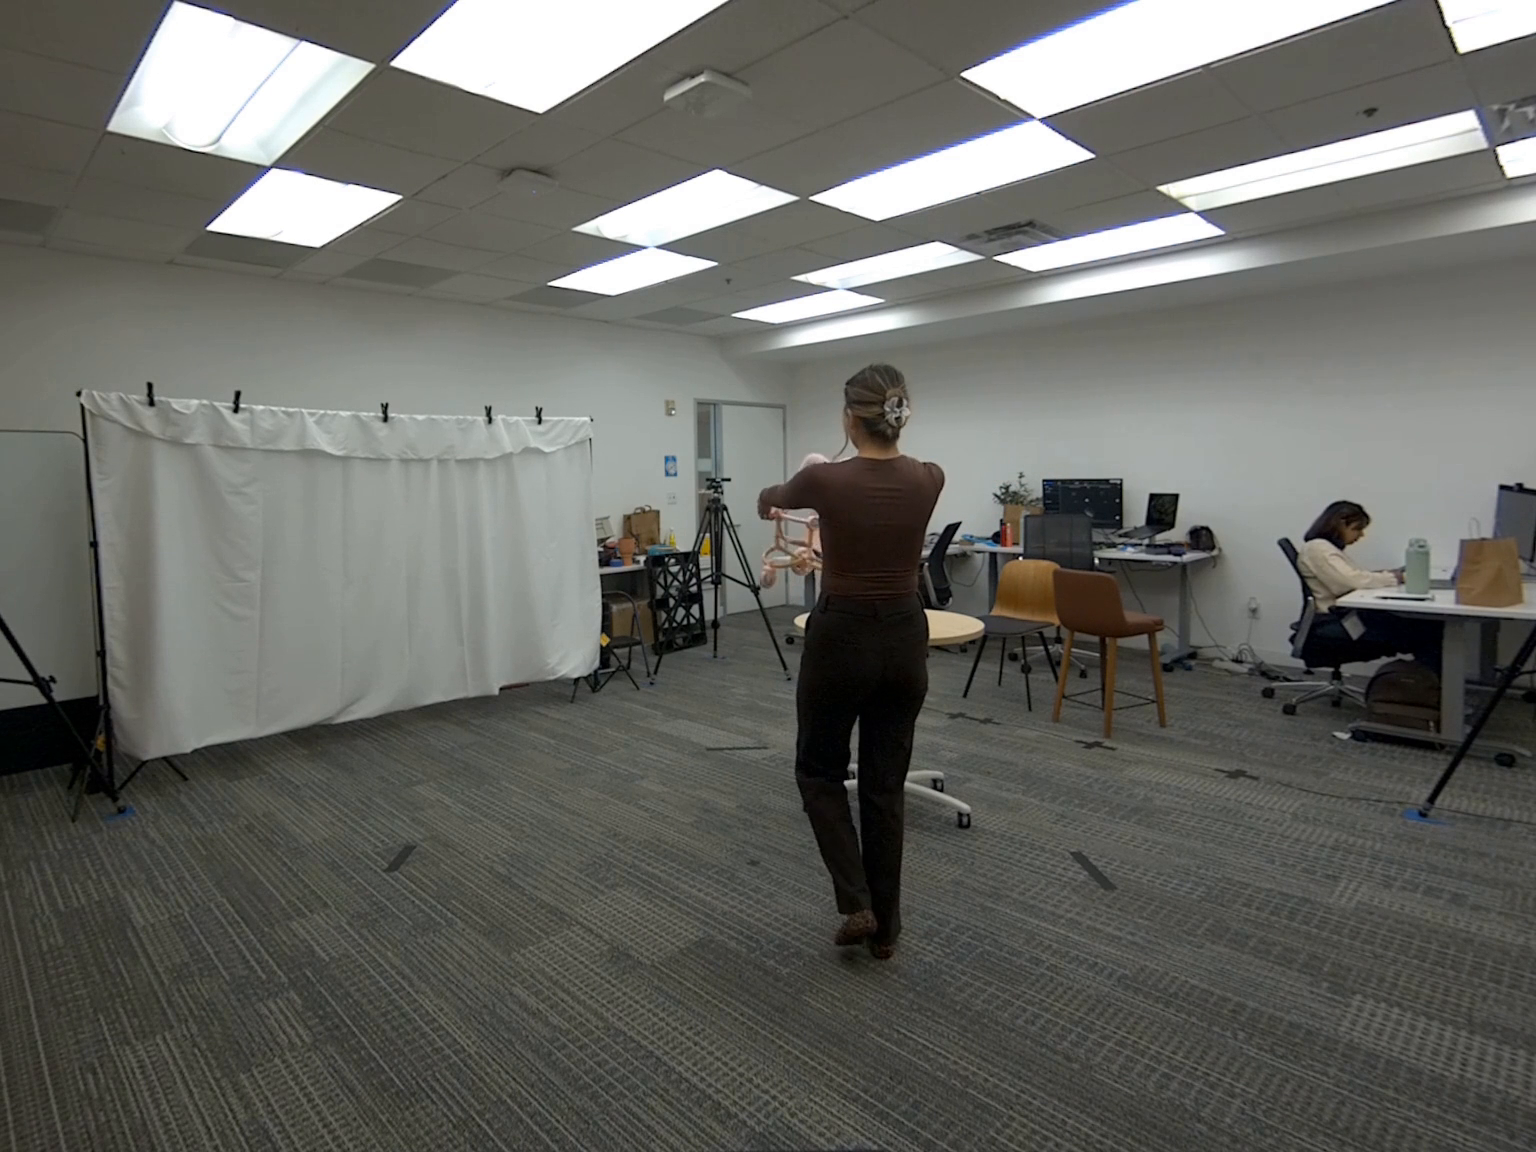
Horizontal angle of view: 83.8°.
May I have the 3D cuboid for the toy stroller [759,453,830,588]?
[{"bbox_3d":[0.158,-0.195,3.075,0.331,0.534,0.290,12,4,-32],"label":"toy stroller"}]
